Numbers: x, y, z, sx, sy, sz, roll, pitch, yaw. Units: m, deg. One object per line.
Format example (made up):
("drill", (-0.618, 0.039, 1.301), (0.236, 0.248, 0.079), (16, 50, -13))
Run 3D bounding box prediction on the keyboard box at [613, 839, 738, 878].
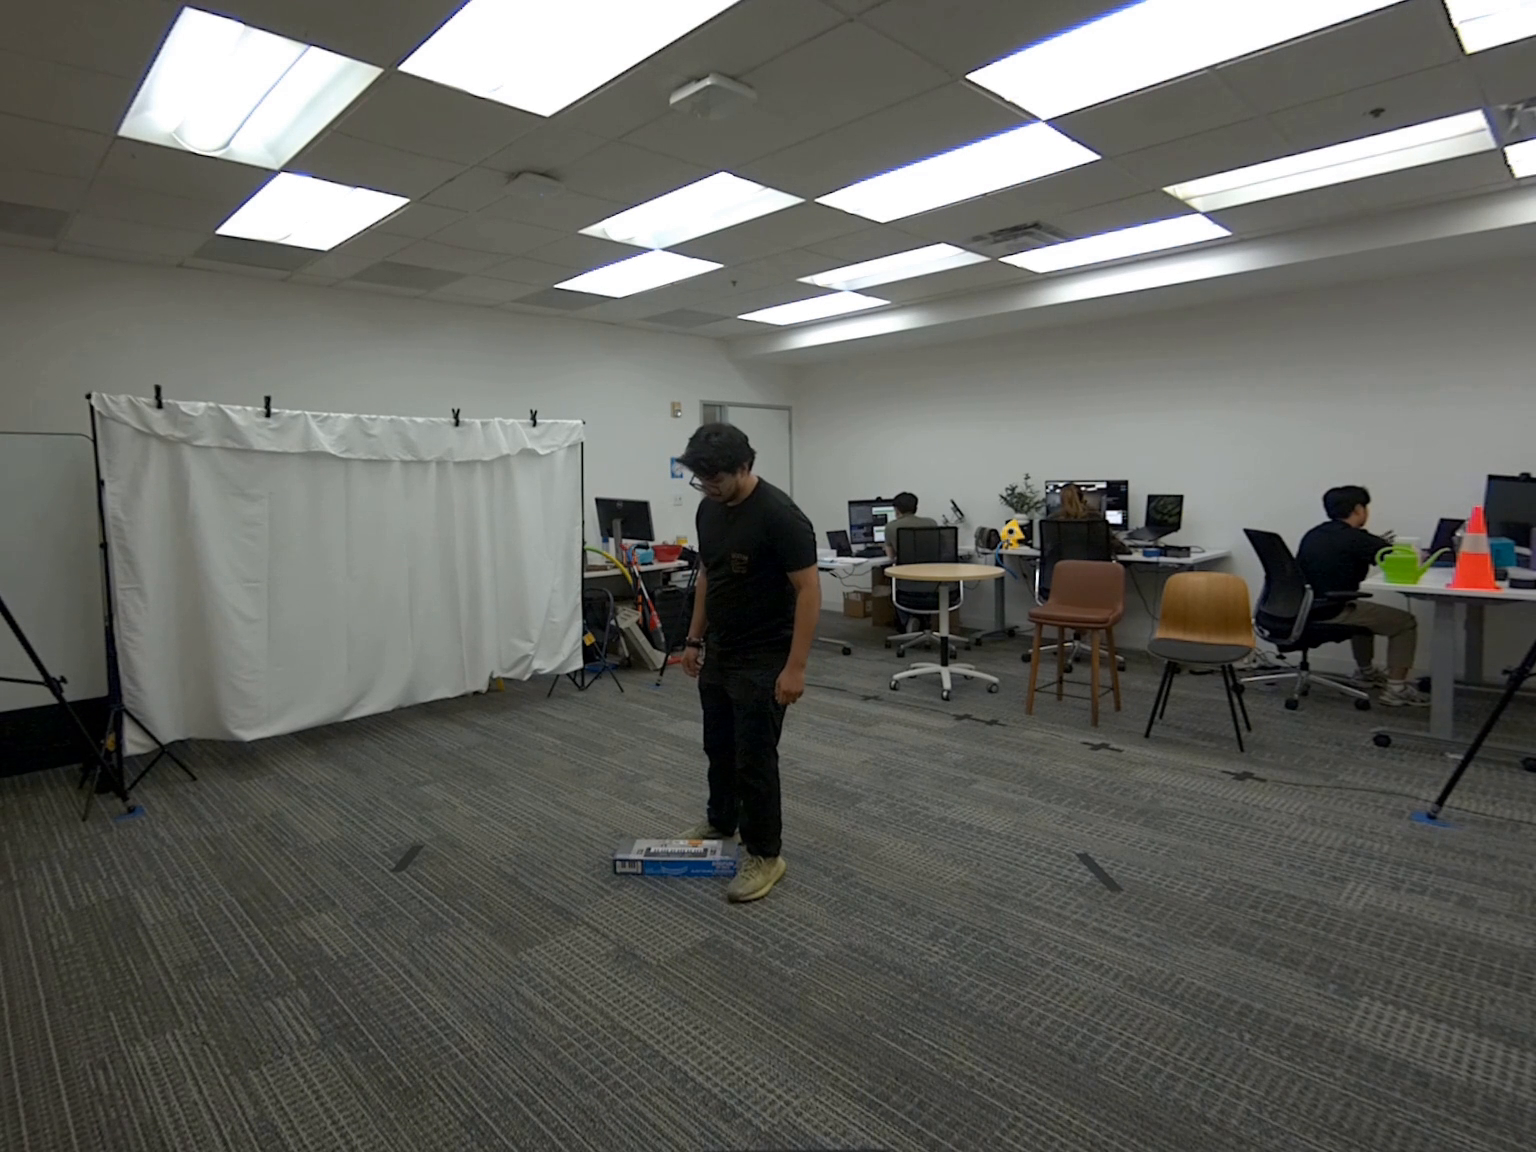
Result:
("keyboard box", (-0.328, 1.022, 3.105), (0.439, 0.059, 0.176), (0, 6, 4))
